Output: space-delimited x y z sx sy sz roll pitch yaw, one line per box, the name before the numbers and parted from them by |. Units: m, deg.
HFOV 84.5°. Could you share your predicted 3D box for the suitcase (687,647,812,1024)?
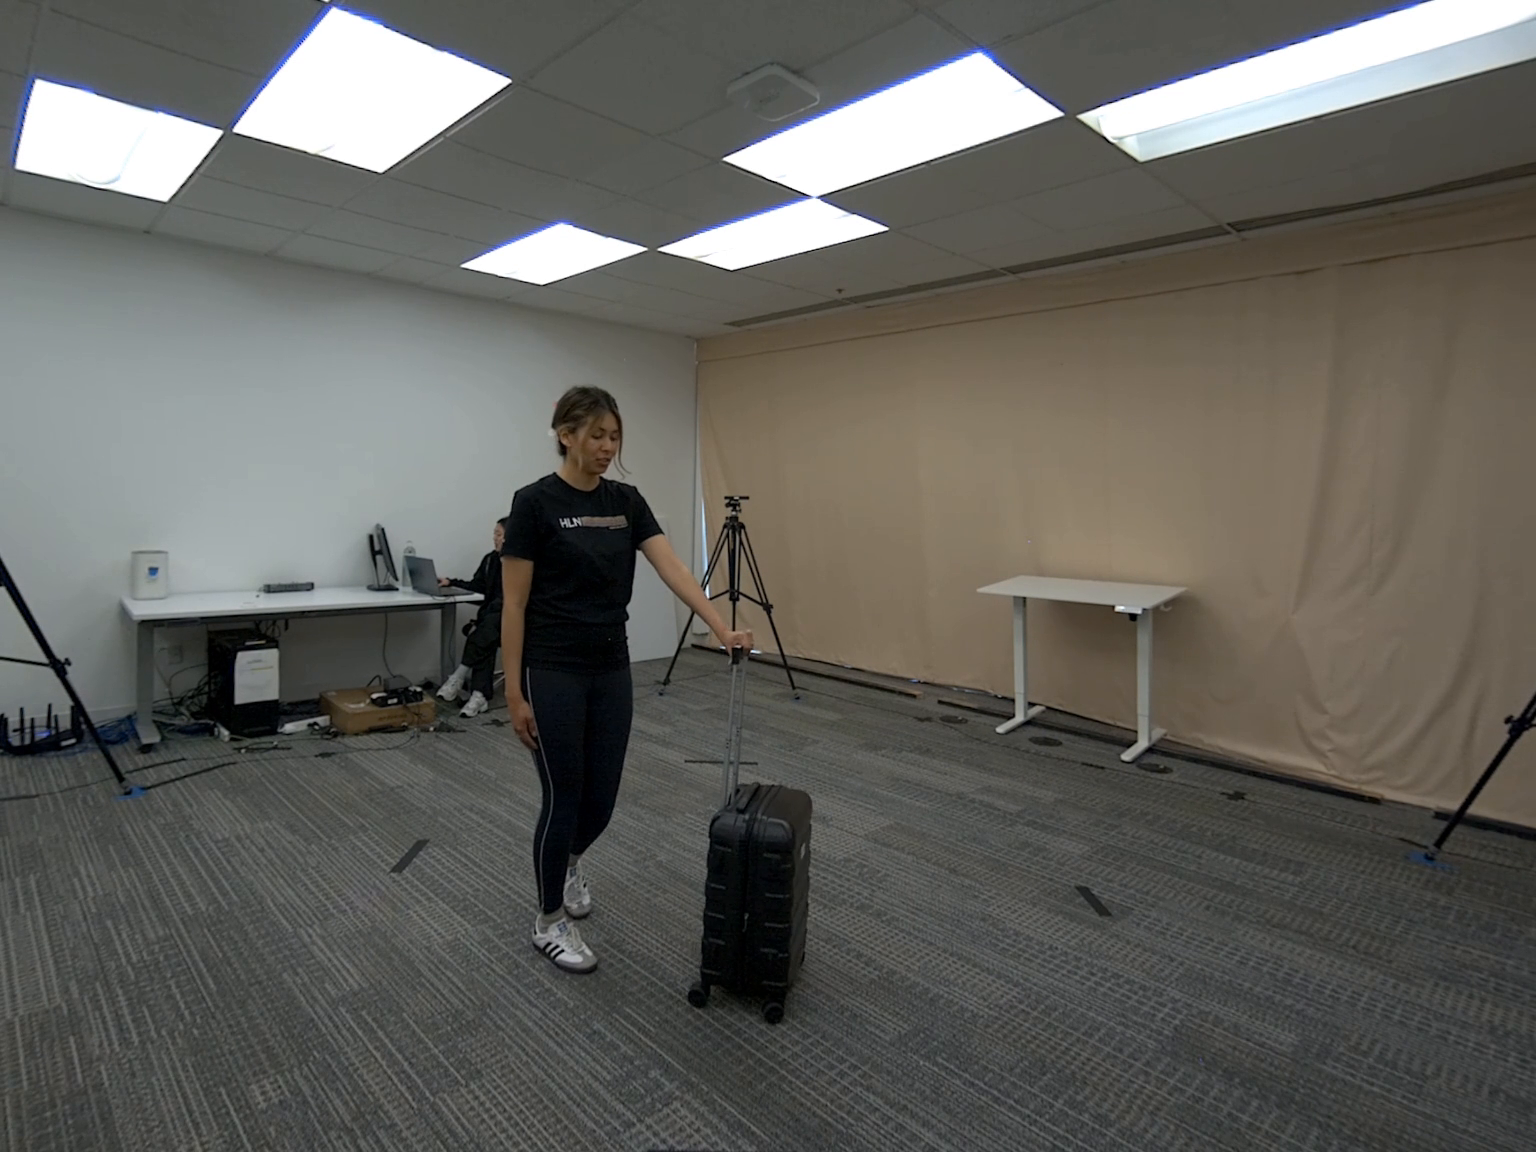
suitcase | -0.016 0.699 2.387 0.260 0.976 0.381 7 5 12
